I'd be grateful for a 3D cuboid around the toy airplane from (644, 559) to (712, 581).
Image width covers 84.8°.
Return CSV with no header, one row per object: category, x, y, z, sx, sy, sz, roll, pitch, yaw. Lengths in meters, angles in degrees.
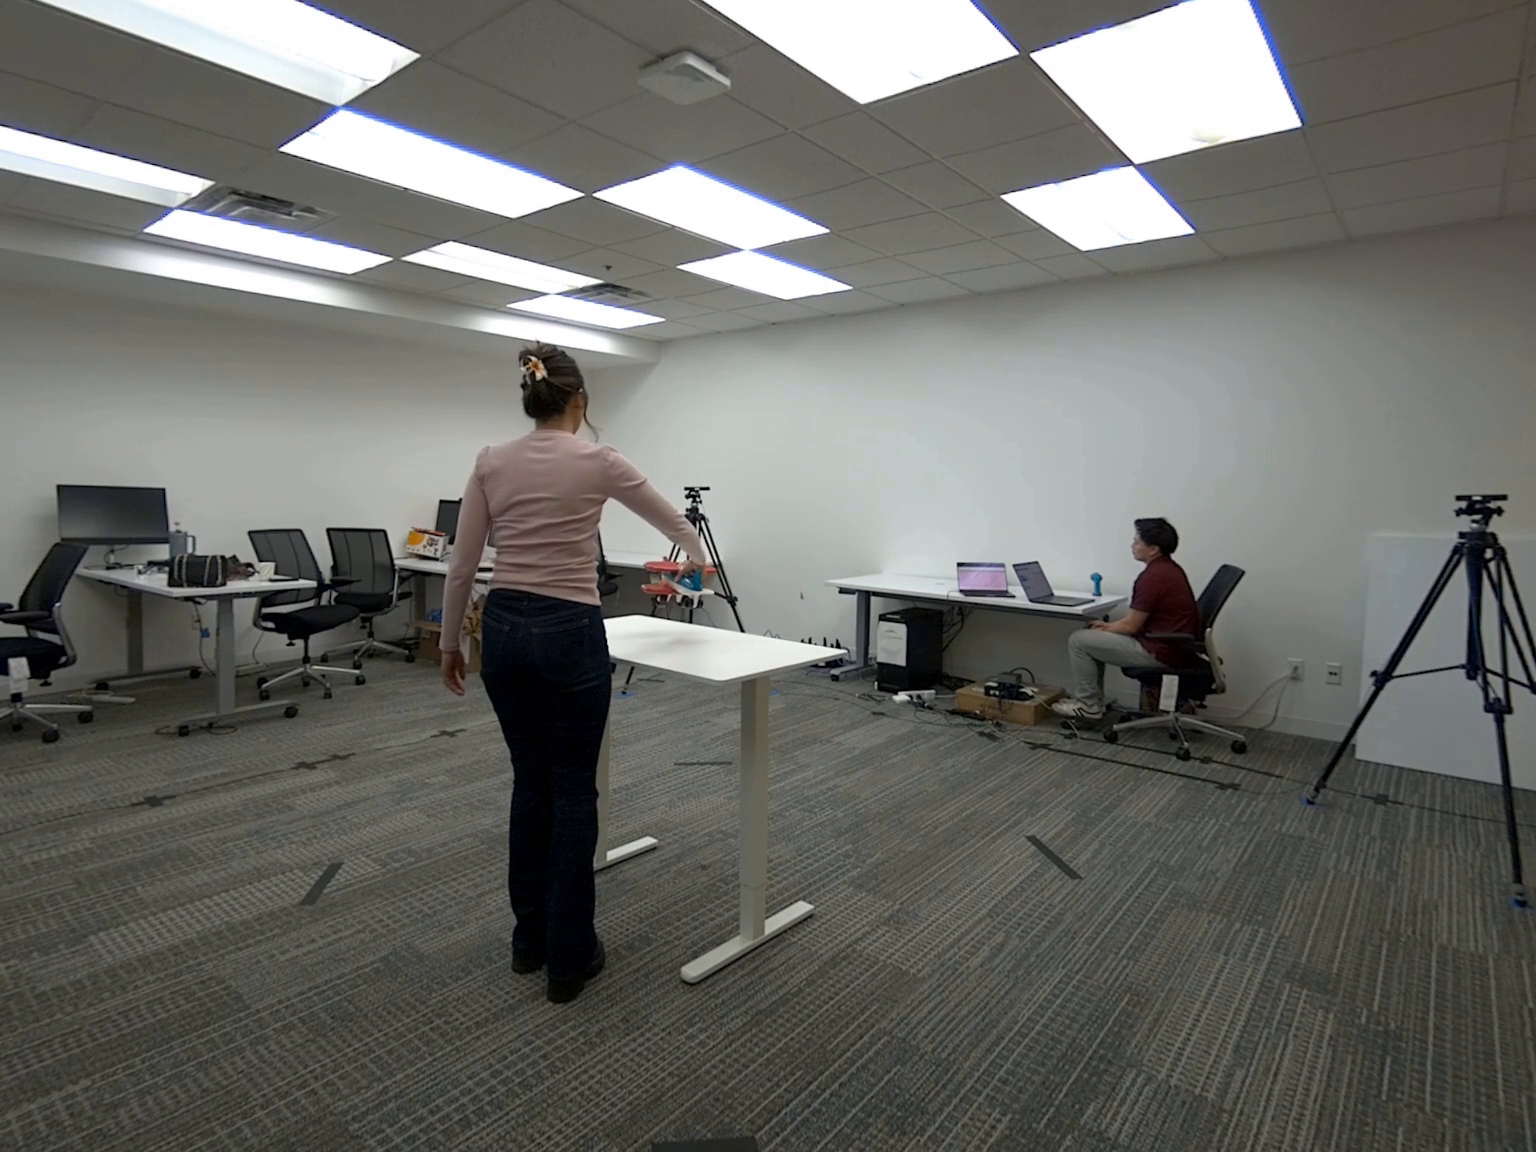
toy airplane,-0.276,0.023,2.874,0.267,0.157,0.243,0,-1,35
